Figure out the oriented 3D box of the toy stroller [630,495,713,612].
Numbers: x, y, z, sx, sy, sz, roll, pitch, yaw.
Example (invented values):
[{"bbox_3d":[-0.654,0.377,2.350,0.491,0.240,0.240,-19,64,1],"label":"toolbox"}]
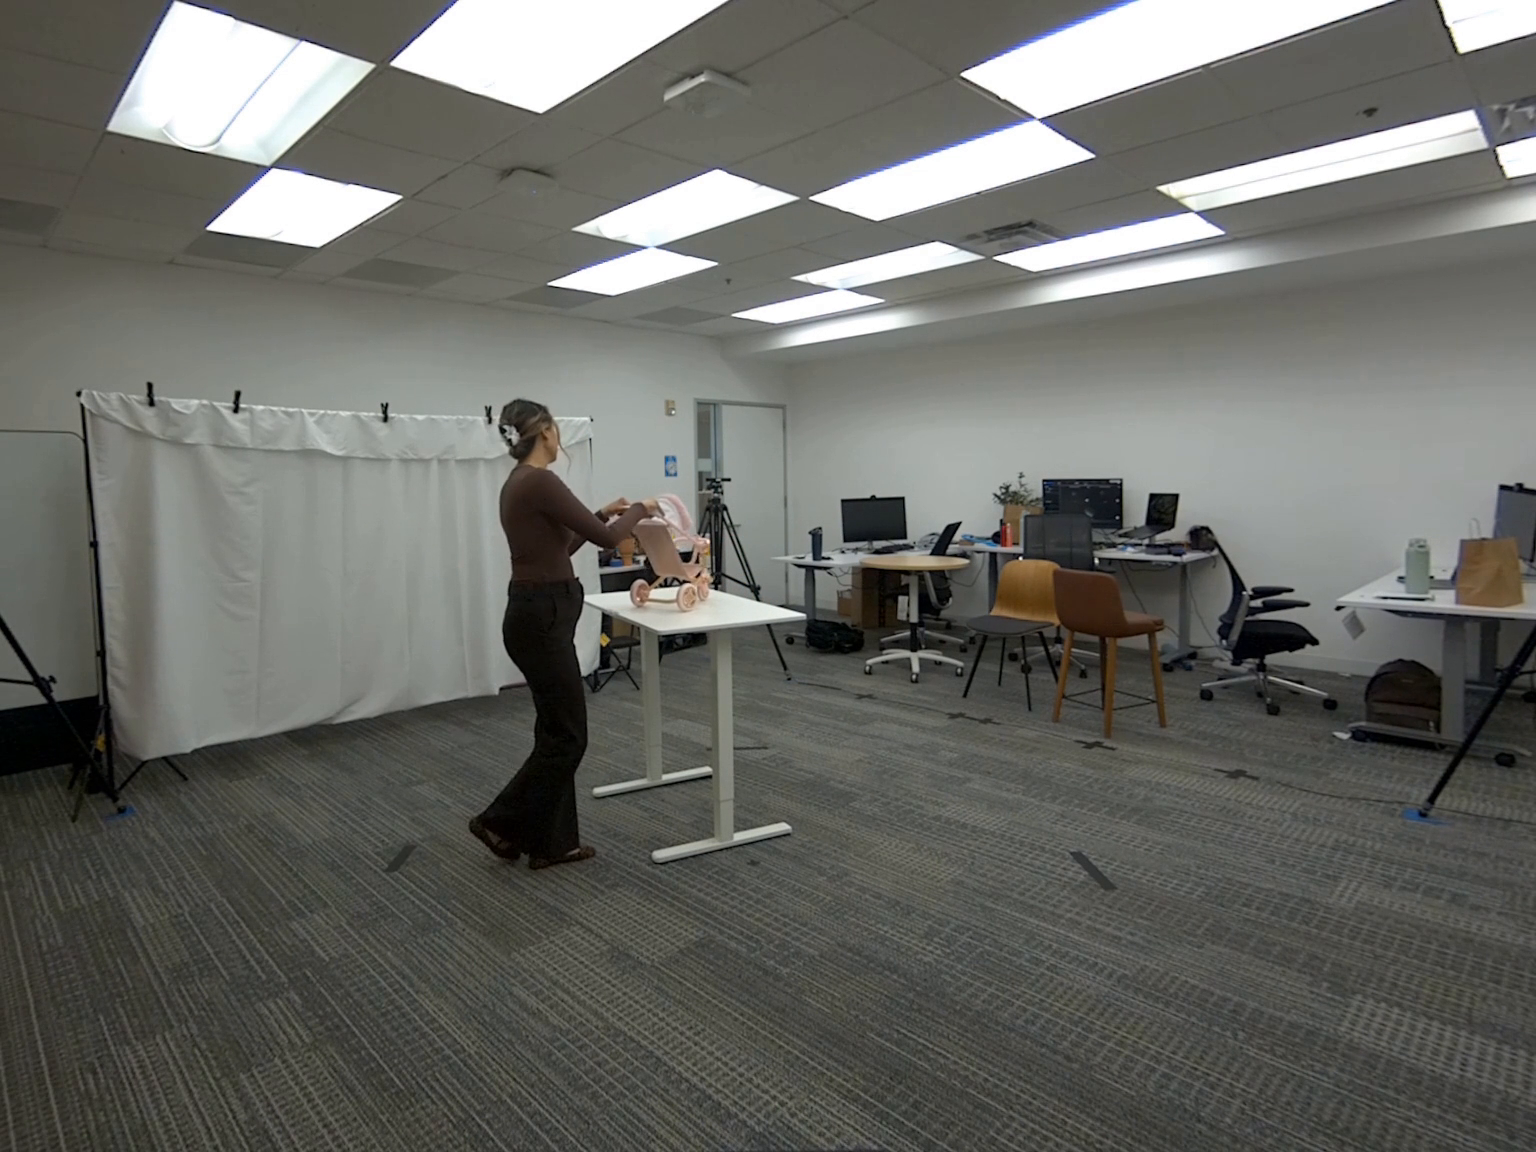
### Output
[{"bbox_3d":[-0.385,-0.093,3.439,0.290,0.525,0.337,5,24,39],"label":"toy stroller"}]
